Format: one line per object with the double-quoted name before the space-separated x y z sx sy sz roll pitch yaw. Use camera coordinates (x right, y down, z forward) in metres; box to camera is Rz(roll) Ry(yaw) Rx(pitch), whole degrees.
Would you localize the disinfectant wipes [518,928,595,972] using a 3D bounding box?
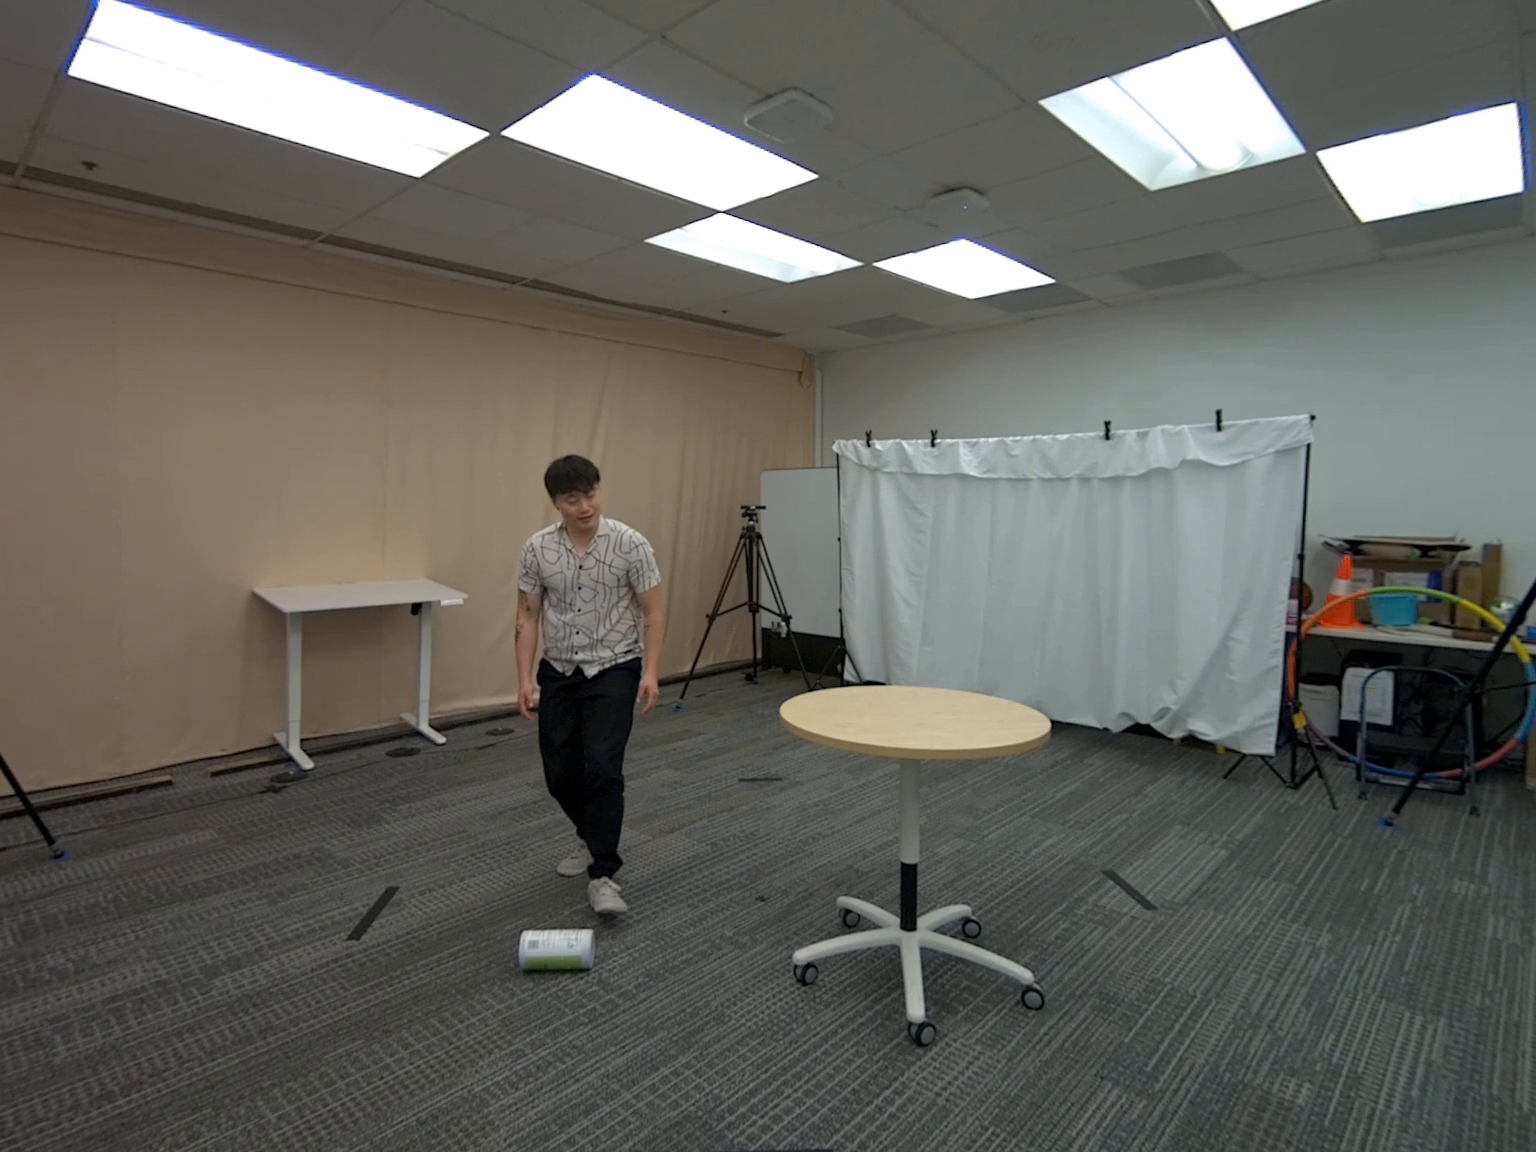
"disinfectant wipes" -0.634 1.122 2.543 0.218 0.117 0.118 -2 4 0
